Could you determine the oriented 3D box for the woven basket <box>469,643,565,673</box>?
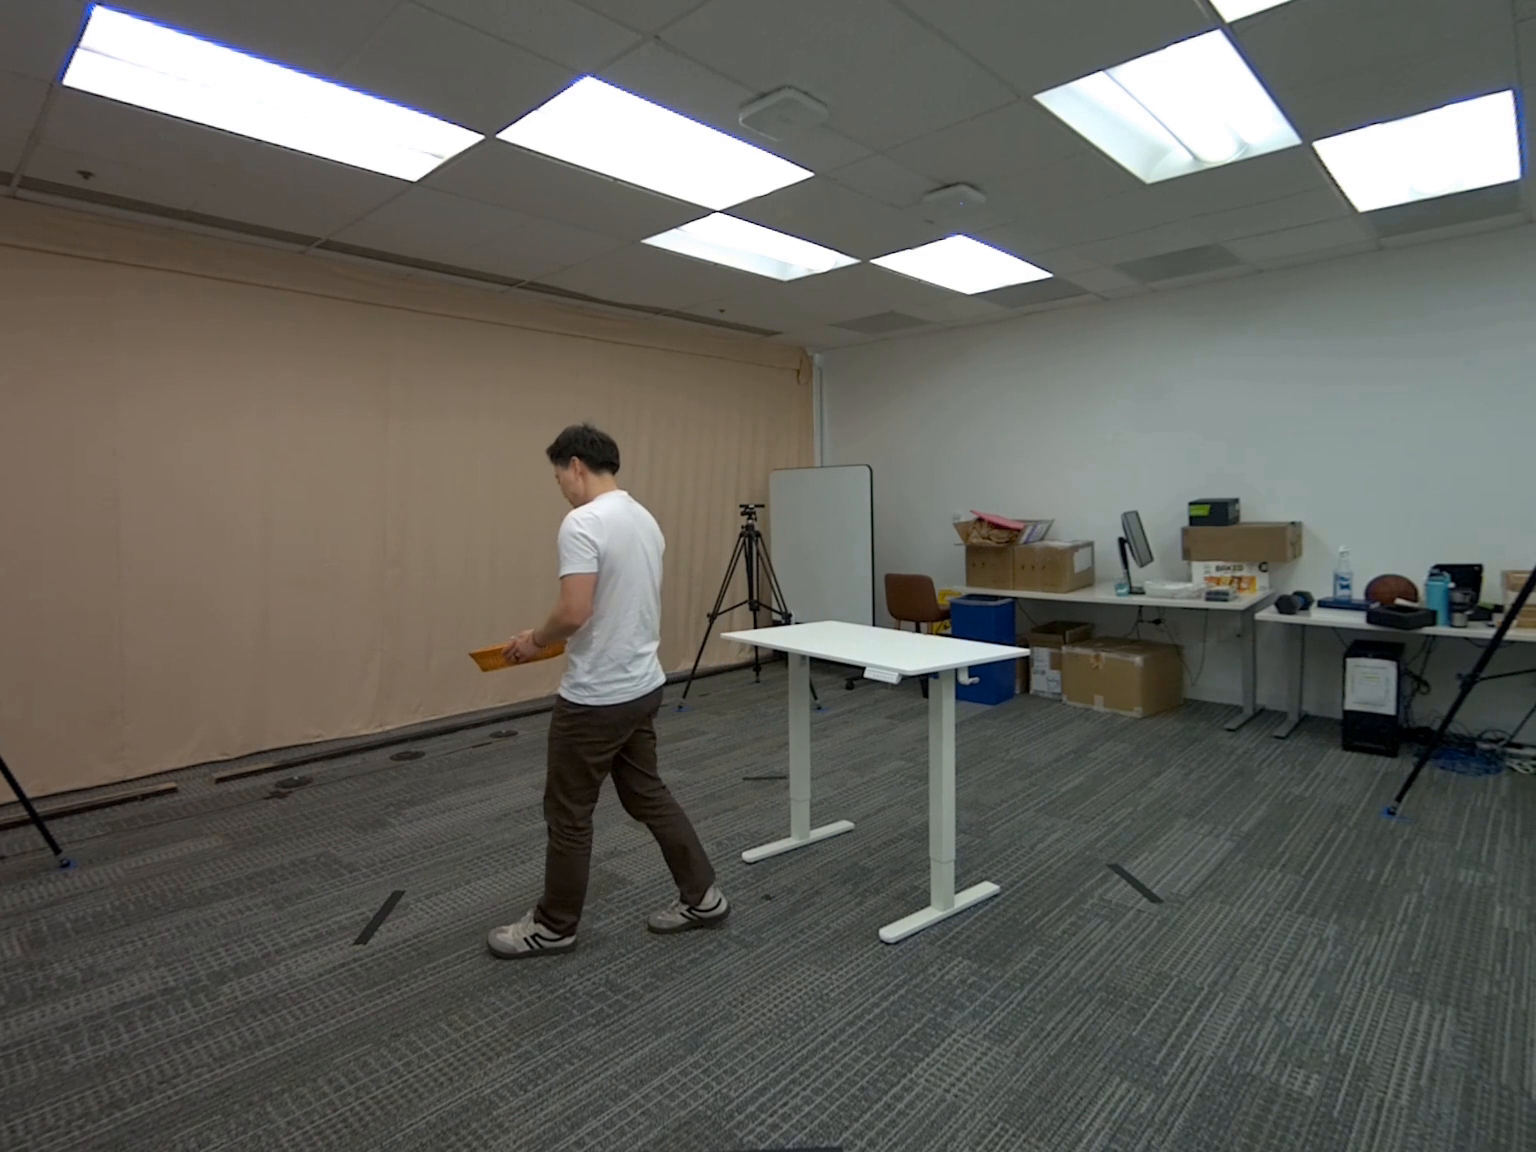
[{"bbox_3d":[-0.827,0.259,2.784,0.355,0.073,0.249,-12,1,15],"label":"woven basket"}]
